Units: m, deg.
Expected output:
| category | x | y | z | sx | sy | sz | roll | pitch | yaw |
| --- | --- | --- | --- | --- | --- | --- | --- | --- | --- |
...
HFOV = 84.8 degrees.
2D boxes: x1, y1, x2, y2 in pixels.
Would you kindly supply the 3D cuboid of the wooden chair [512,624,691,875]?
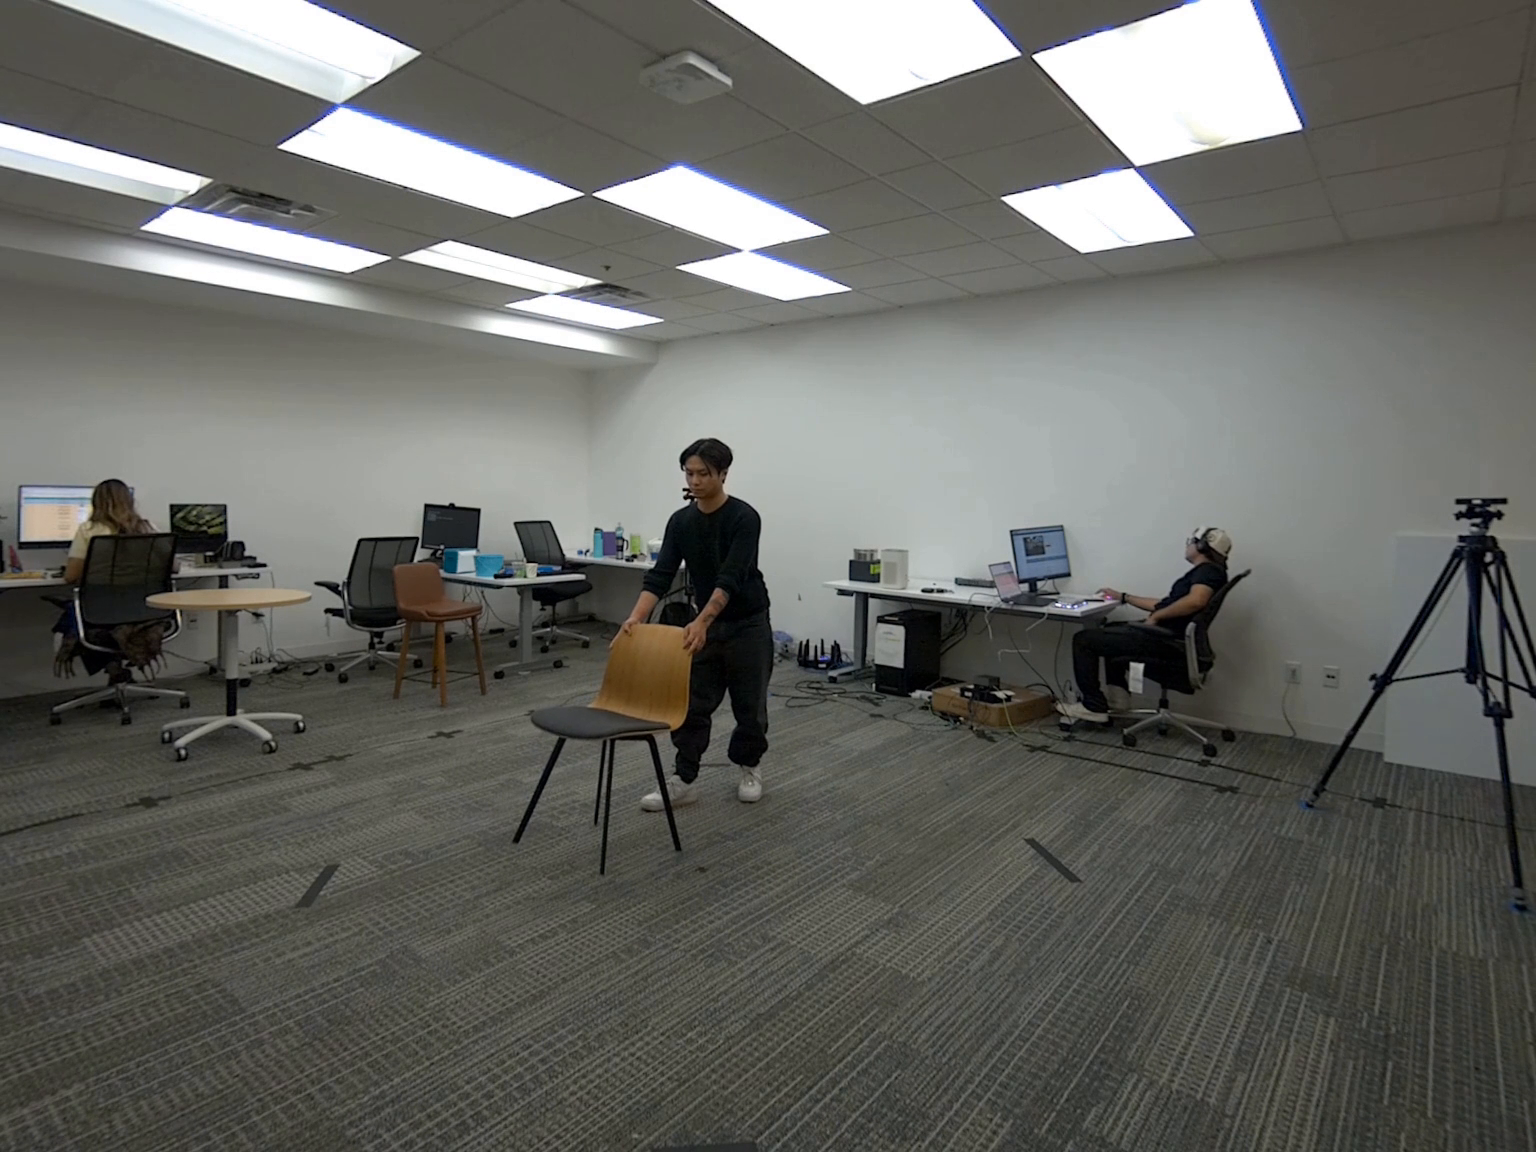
| category | x | y | z | sx | sy | sz | roll | pitch | yaw |
| --- | --- | --- | --- | --- | --- | --- | --- | --- | --- |
| wooden chair | -0.614 | 0.596 | 3.228 | 0.493 | 0.882 | 0.504 | 4 | -8 | 34 |
